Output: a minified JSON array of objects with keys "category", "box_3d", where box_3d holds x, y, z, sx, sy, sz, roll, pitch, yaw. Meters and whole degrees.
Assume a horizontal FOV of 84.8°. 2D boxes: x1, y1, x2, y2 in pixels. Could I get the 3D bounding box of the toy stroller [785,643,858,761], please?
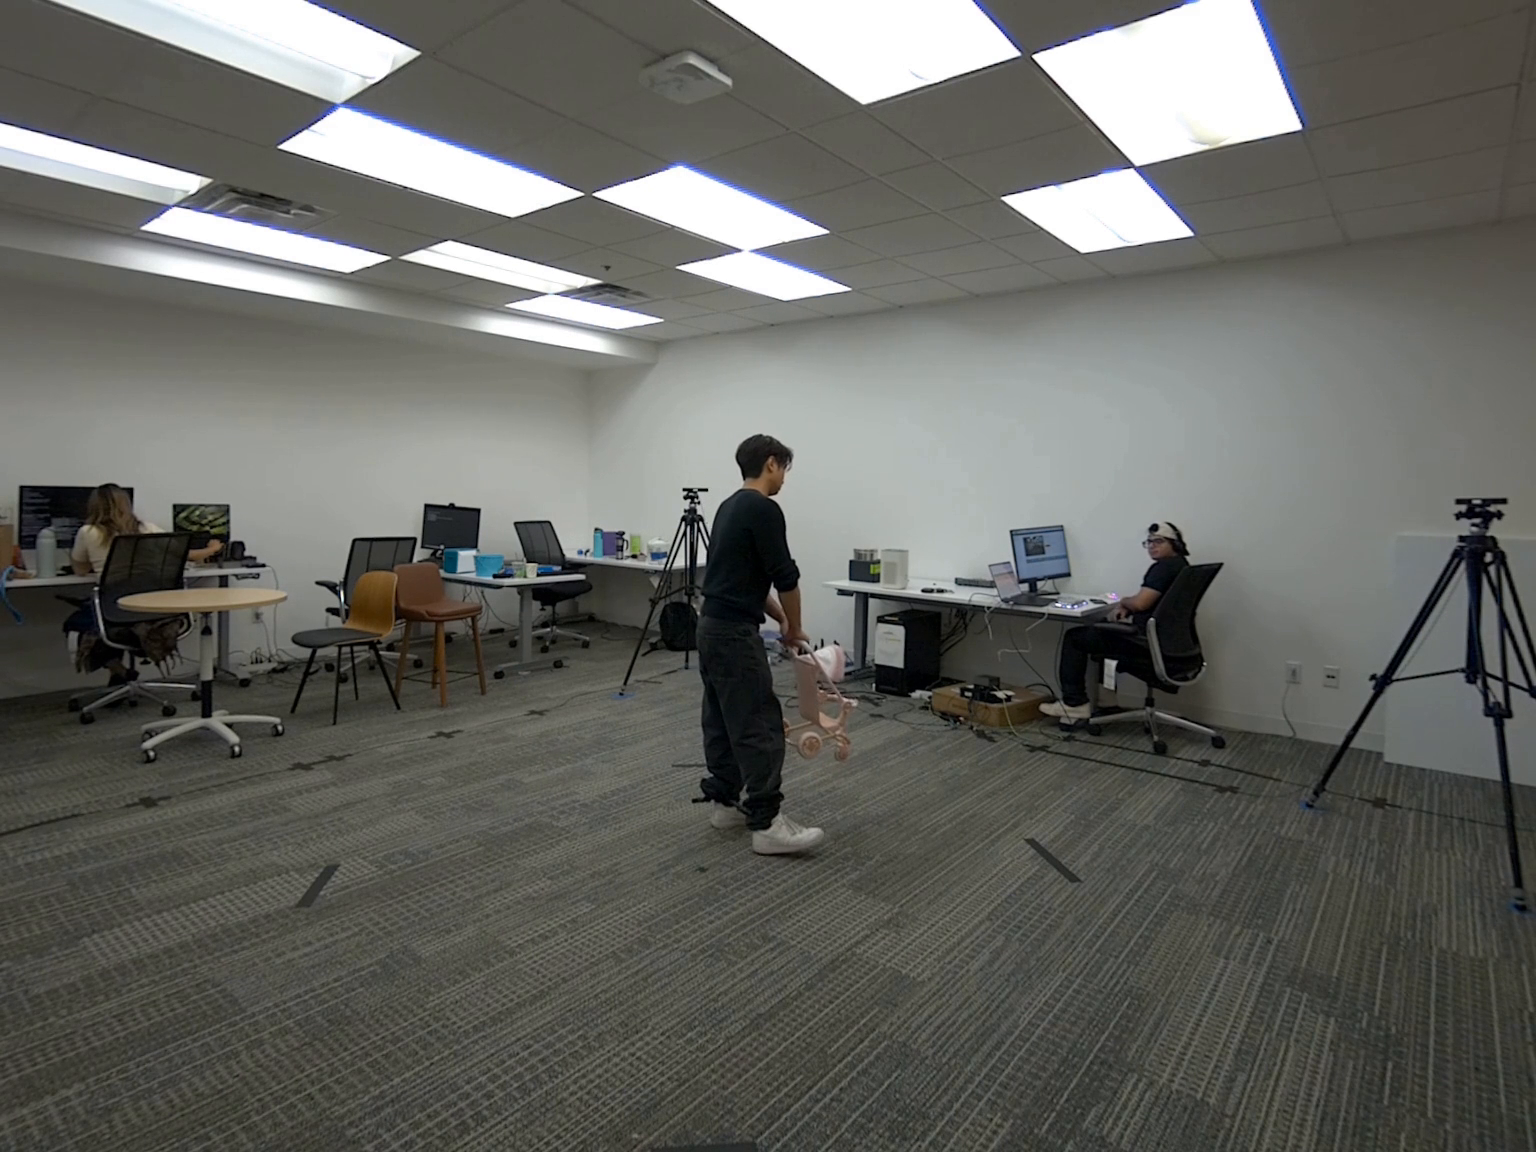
[{"category":"toy stroller","box_3d":[0.212,0.533,3.591,0.334,0.535,0.288,4,1,-22]}]
